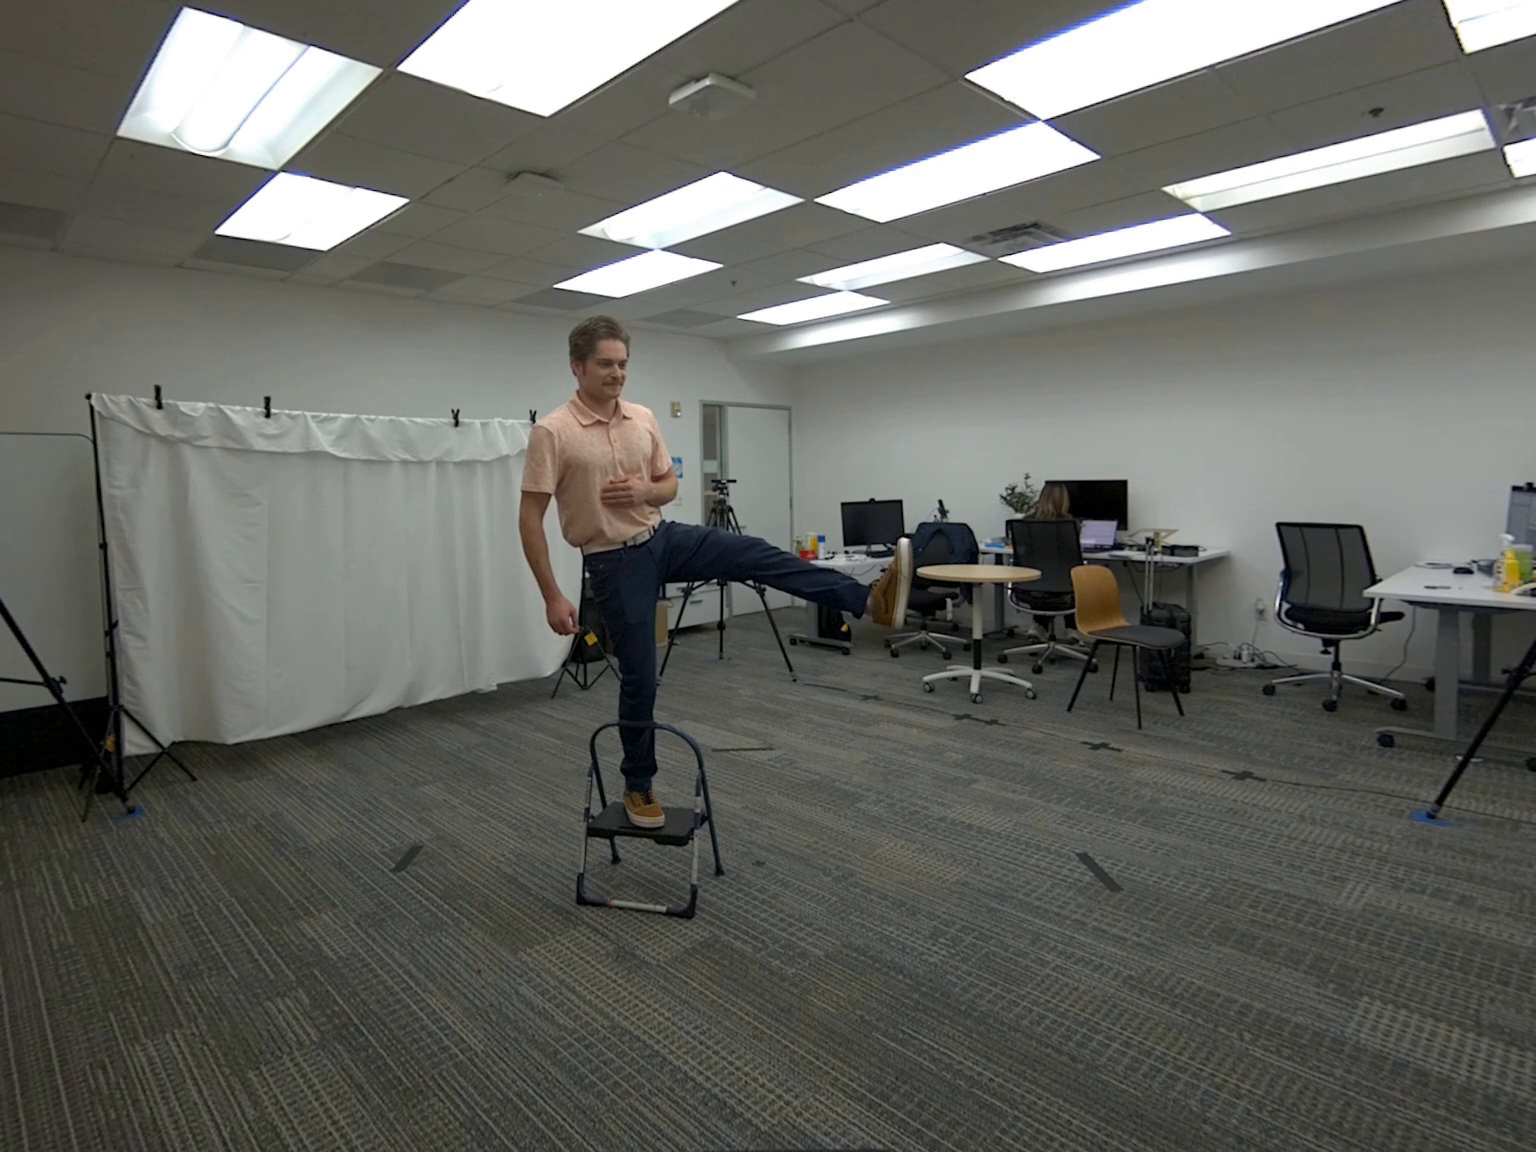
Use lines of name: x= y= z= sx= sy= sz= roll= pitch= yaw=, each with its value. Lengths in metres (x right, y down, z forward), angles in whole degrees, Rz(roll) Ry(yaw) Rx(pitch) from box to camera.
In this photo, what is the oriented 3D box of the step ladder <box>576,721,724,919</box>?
step ladder: x=-0.406 y=0.777 z=2.922 sx=0.437 sy=0.604 sz=0.346 roll=0 pitch=5 yaw=14
